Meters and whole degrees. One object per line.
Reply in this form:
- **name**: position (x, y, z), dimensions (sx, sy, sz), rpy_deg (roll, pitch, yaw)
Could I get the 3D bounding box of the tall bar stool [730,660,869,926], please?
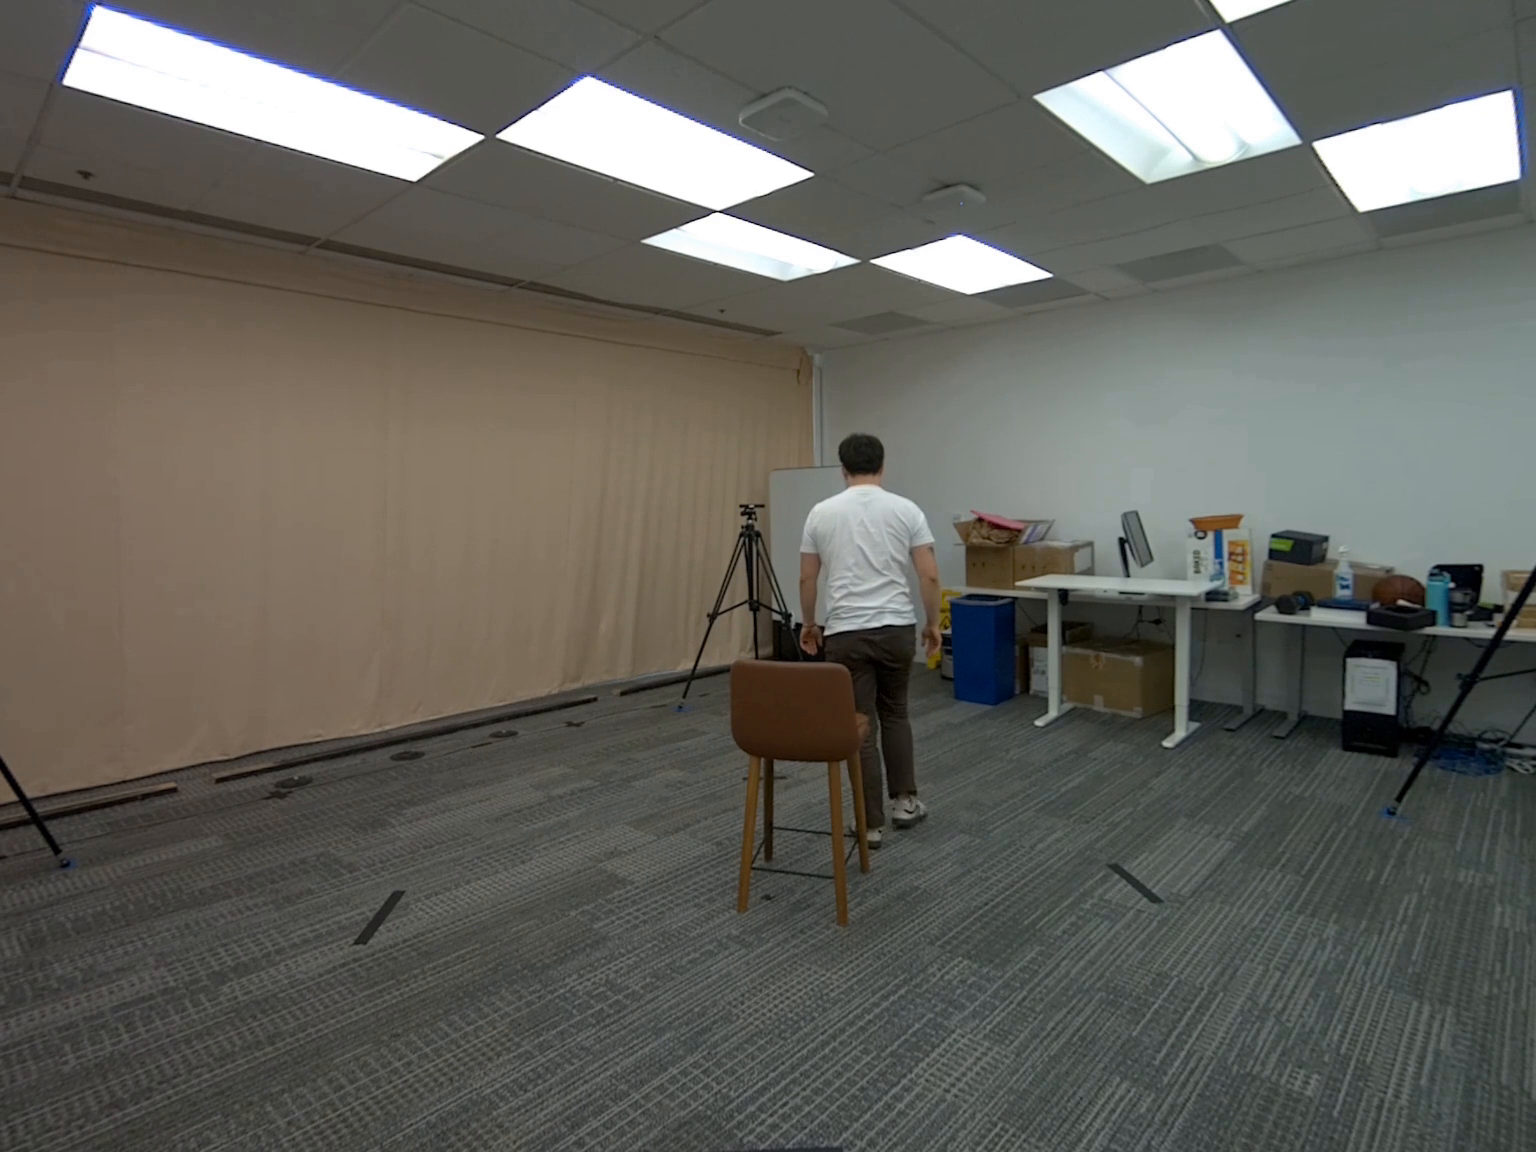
- **tall bar stool**: position (0.125, 0.699, 3.013), dimensions (0.465, 0.887, 0.460), rpy_deg (0, 5, 18)
